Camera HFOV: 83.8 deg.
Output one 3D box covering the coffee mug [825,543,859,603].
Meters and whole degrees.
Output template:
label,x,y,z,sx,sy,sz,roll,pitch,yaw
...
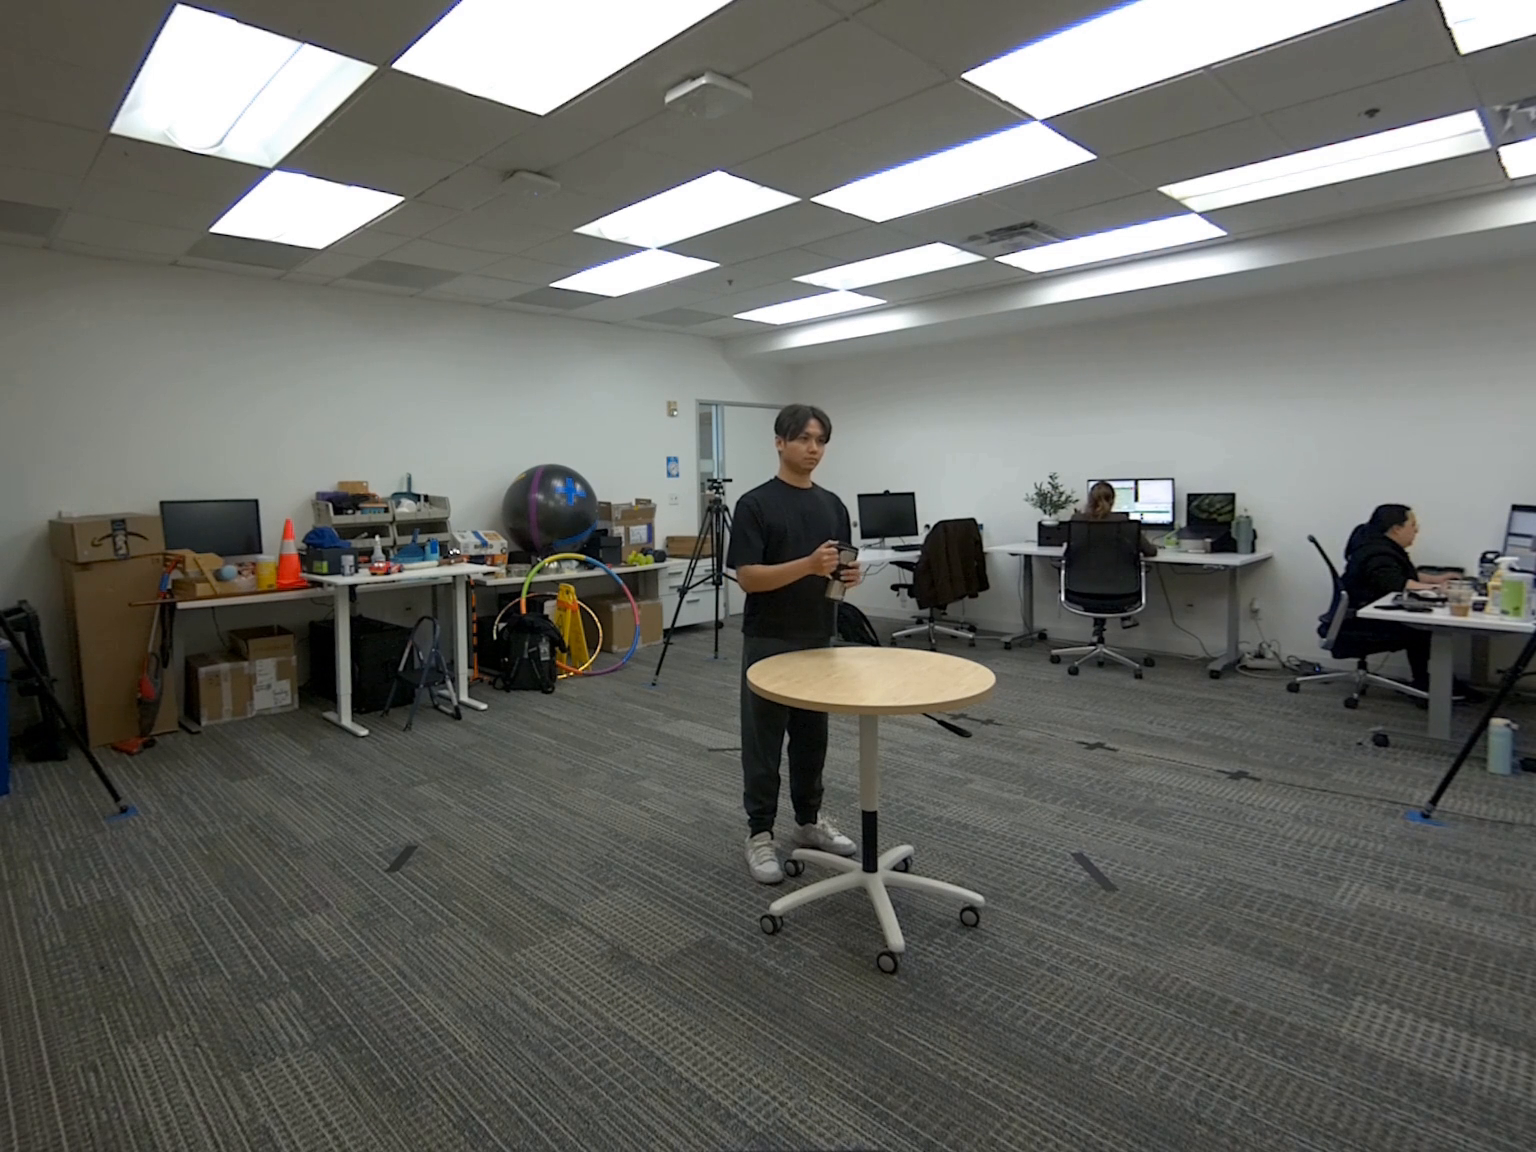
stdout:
label,x,y,z,sx,sy,sz,roll,pitch,yaw
coffee mug,0.224,-0.008,2.913,0.126,0.202,0.085,16,4,34
